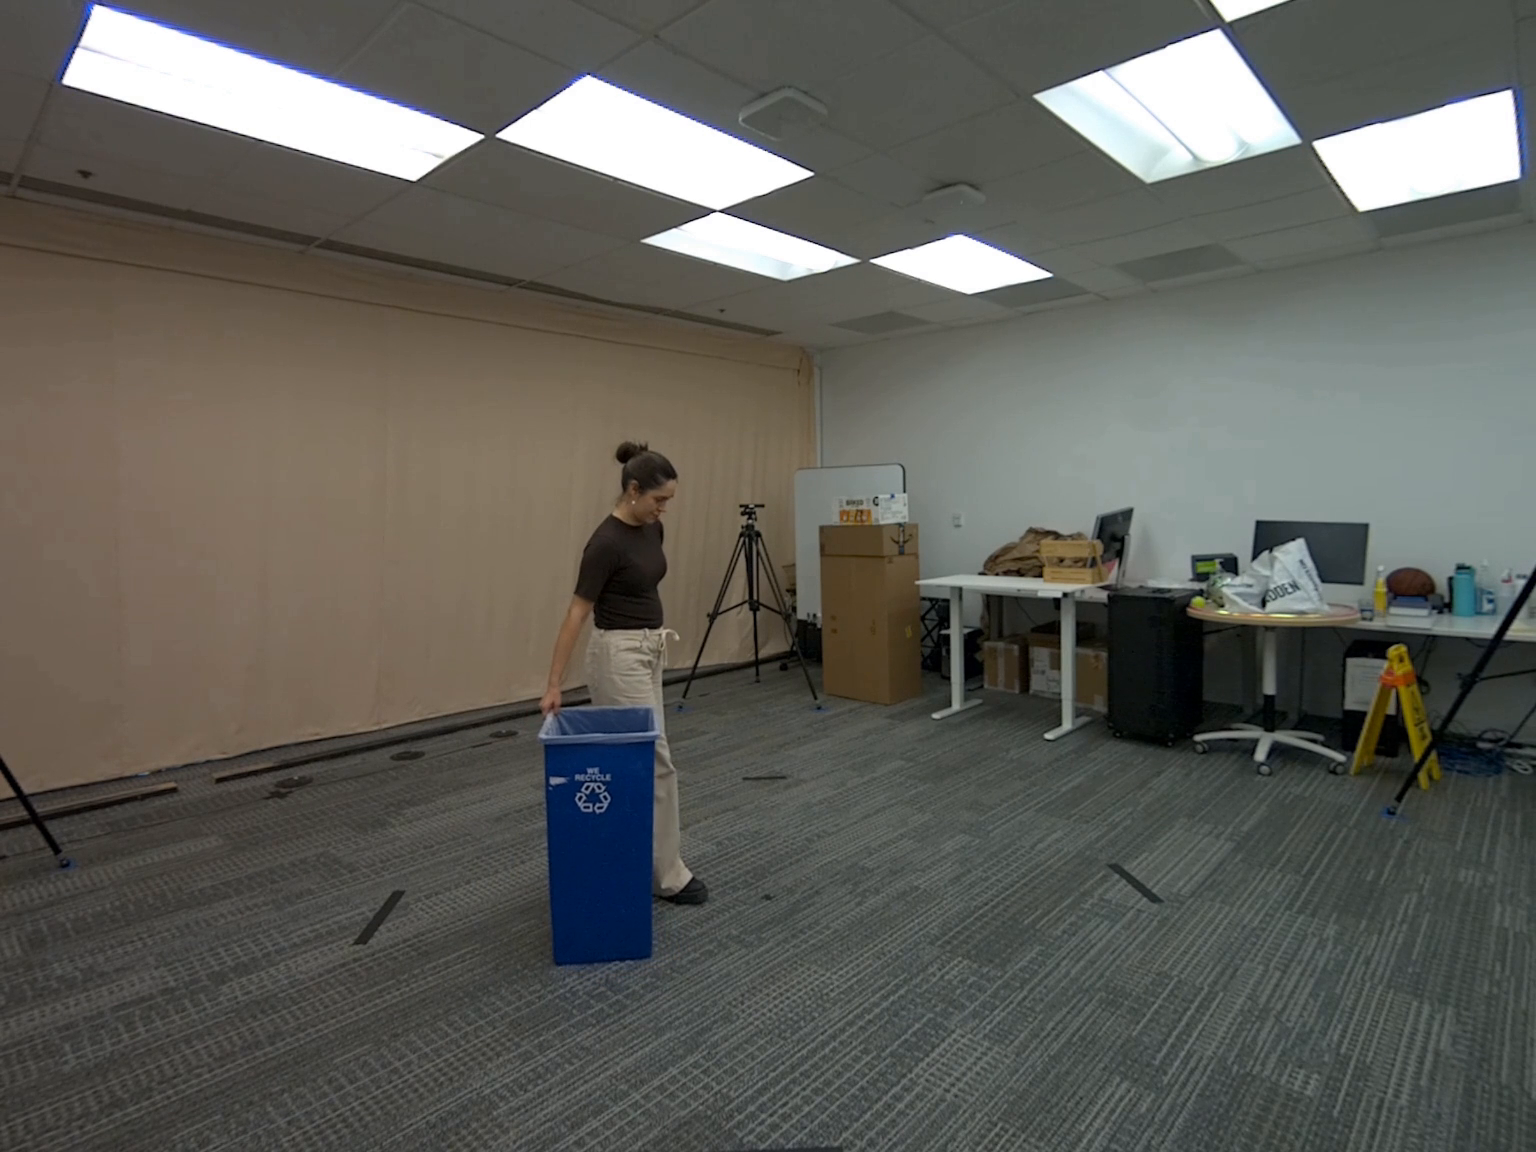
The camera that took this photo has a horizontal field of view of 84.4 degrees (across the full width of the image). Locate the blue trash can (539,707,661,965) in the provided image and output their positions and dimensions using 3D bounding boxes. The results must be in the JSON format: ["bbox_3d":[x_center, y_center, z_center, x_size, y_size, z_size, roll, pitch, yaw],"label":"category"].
[{"bbox_3d":[-0.534,0.819,2.700,0.375,0.712,0.378,-1,3,-9],"label":"blue trash can"}]
